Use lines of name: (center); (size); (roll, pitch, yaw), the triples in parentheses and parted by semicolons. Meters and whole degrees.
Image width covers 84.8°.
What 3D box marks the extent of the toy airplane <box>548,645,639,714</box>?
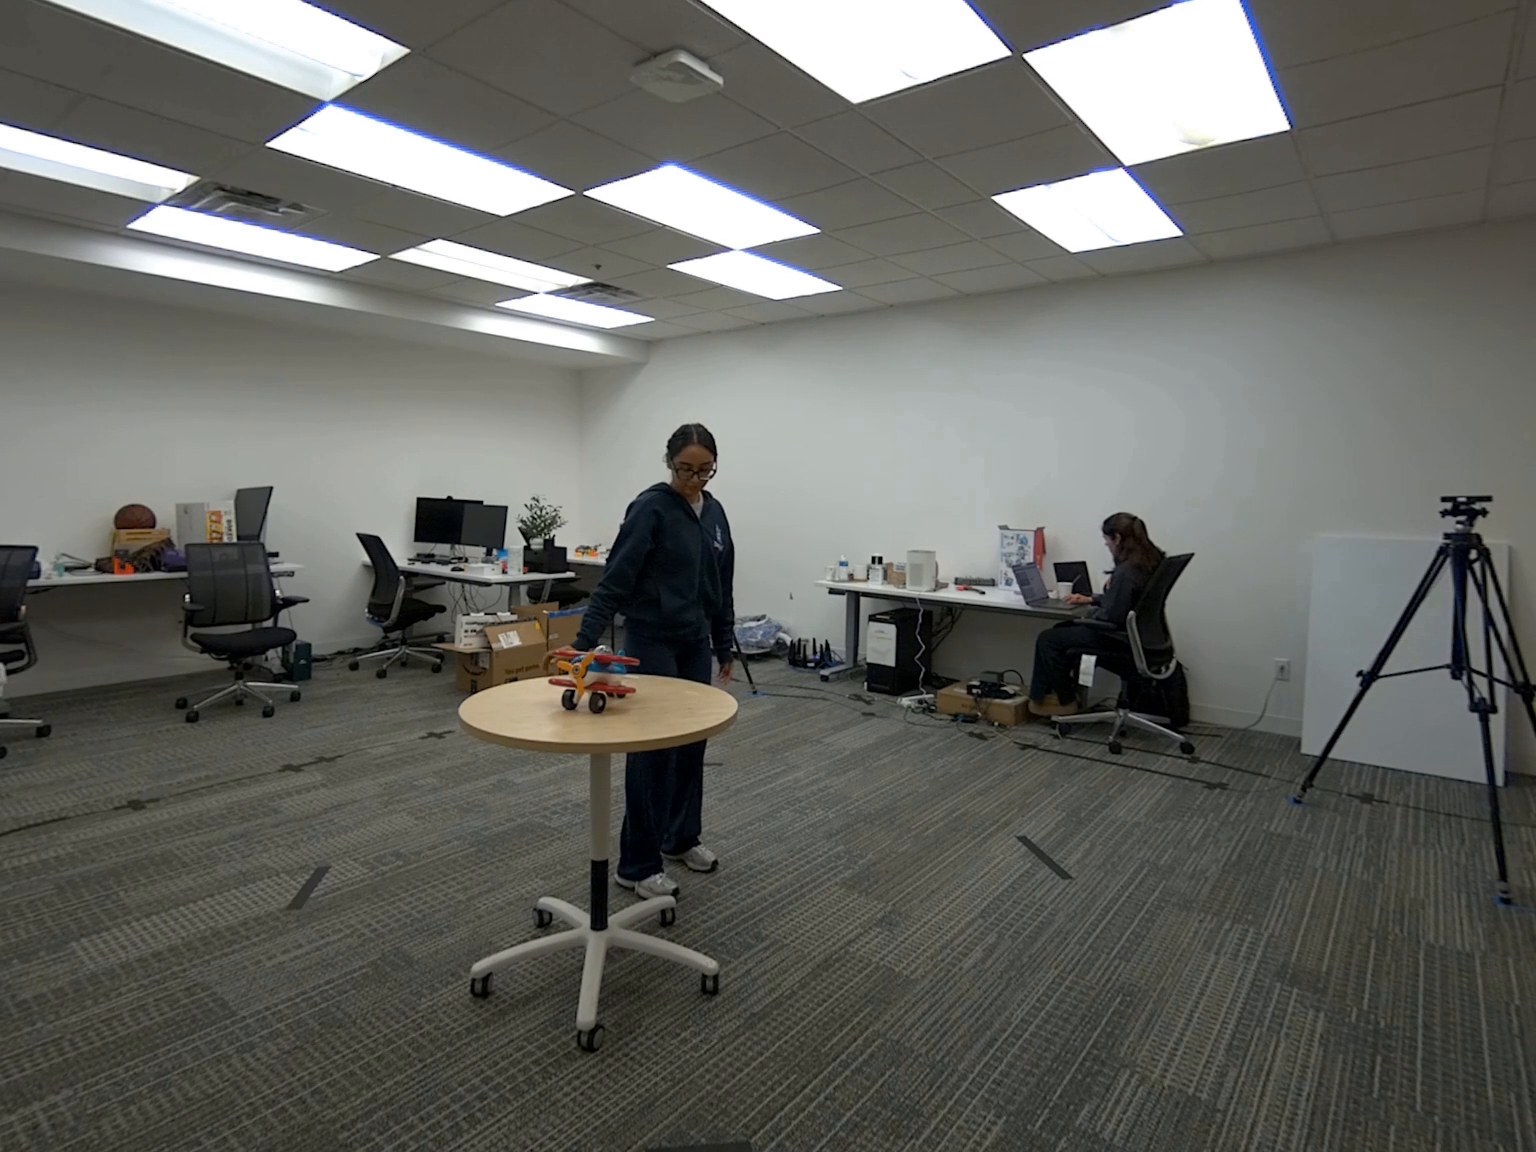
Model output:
toy airplane: (-0.501, 0.274, 2.372); (0.249, 0.156, 0.262); (0, 6, -8)
